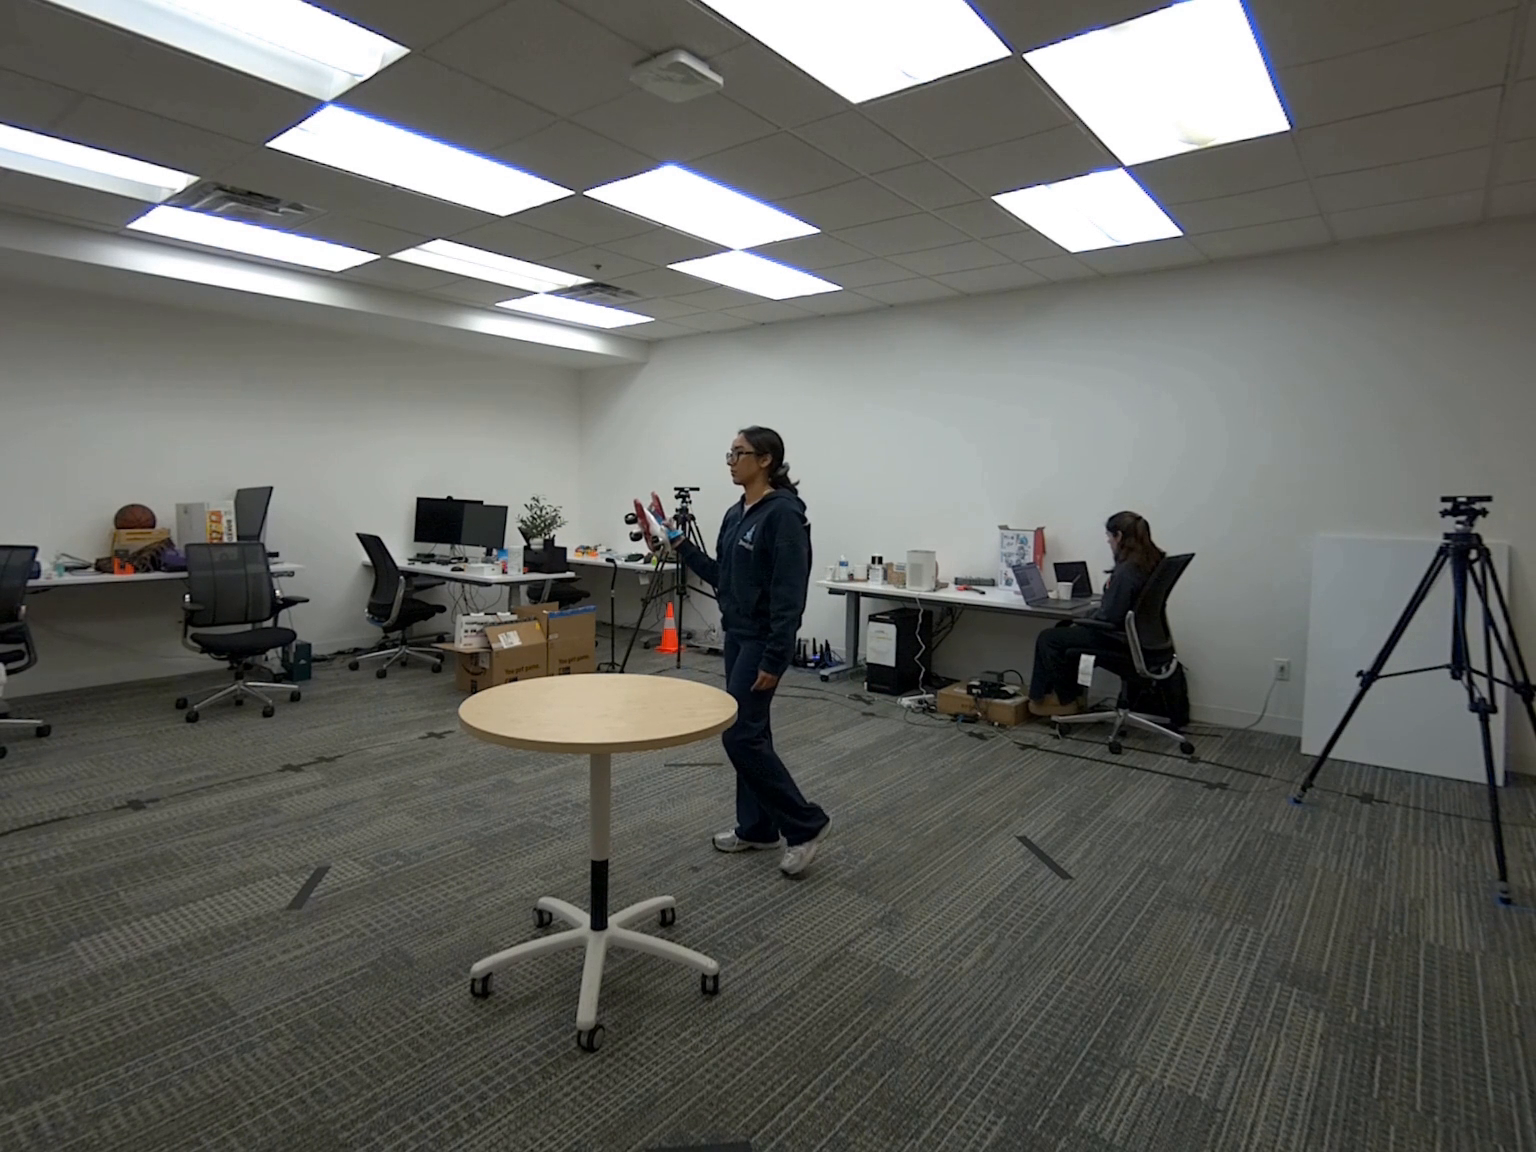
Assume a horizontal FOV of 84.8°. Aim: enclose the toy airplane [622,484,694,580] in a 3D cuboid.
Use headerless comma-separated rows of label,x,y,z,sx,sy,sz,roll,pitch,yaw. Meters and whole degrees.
toy airplane,-0.461,-0.181,3.467,0.155,0.267,0.246,-33,-23,-26
